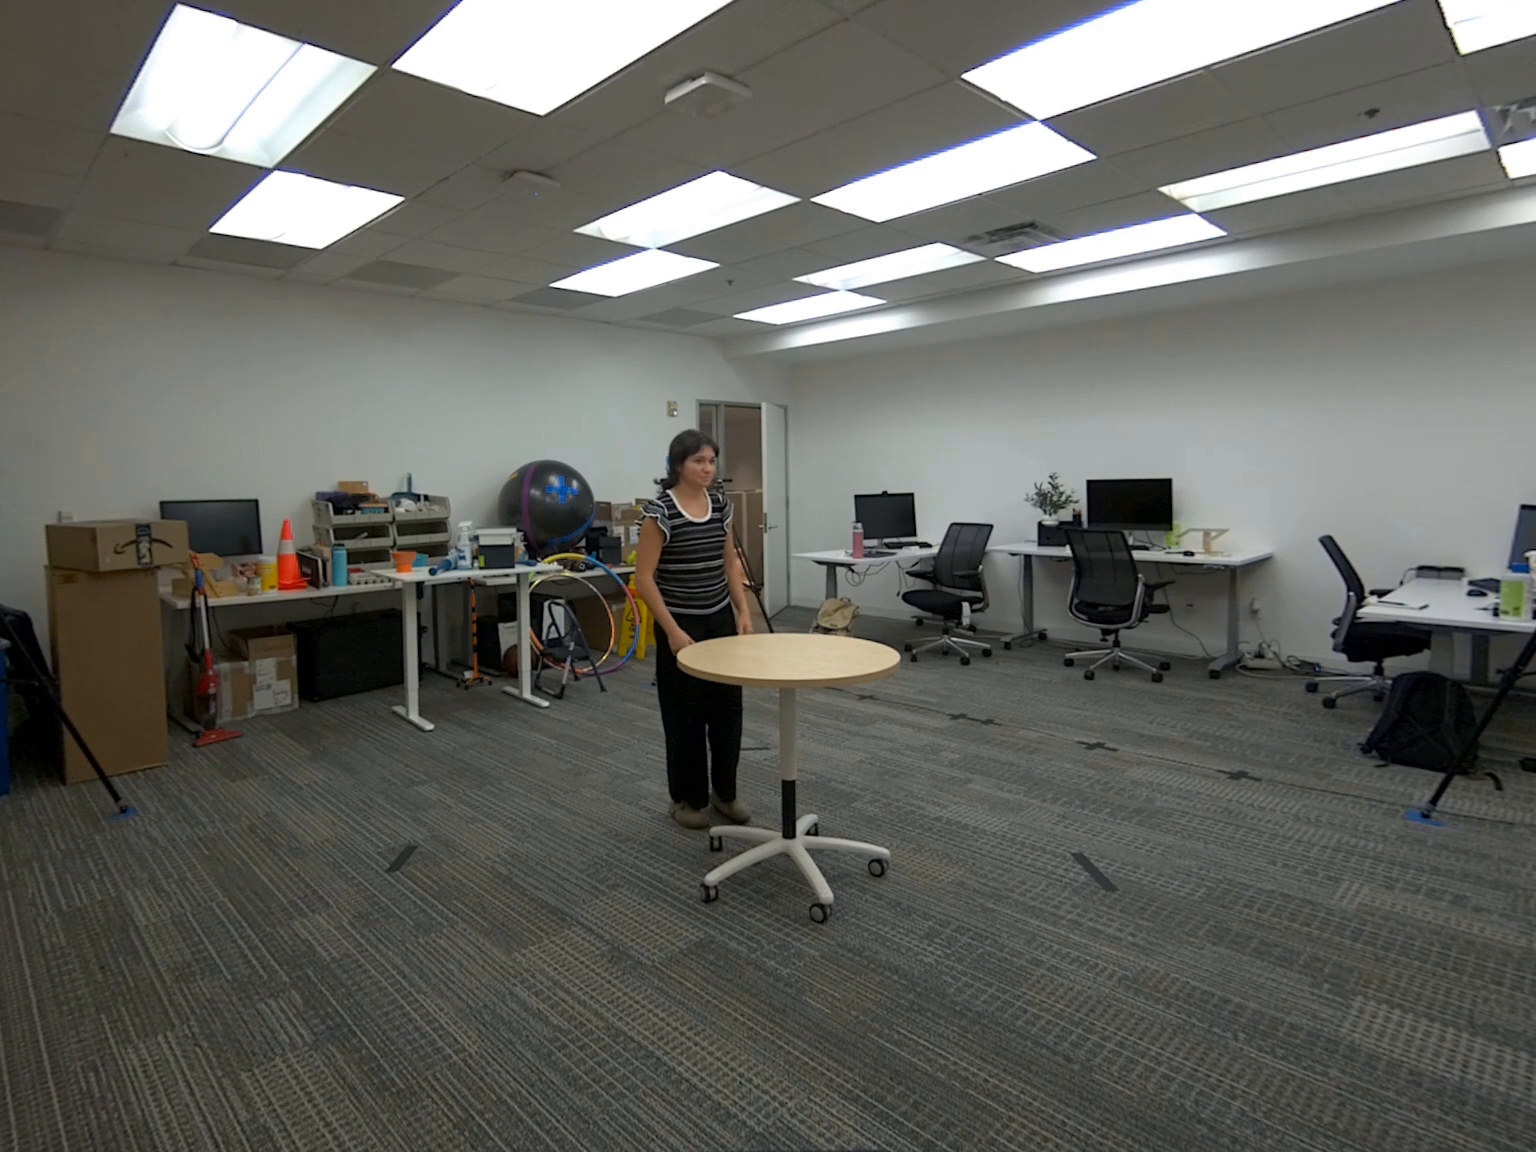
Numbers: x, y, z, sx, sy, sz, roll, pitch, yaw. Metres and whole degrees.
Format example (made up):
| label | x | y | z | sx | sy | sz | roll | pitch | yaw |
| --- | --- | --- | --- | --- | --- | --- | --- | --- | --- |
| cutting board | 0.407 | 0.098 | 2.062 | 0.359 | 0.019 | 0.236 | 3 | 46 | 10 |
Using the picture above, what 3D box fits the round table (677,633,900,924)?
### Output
| label | x | y | z | sx | sy | sz | roll | pitch | yaw |
| --- | --- | --- | --- | --- | --- | --- | --- | --- | --- |
| round table | 0.073 | 0.665 | 2.980 | 0.763 | 0.791 | 0.768 | -1 | 5 | -2 |
